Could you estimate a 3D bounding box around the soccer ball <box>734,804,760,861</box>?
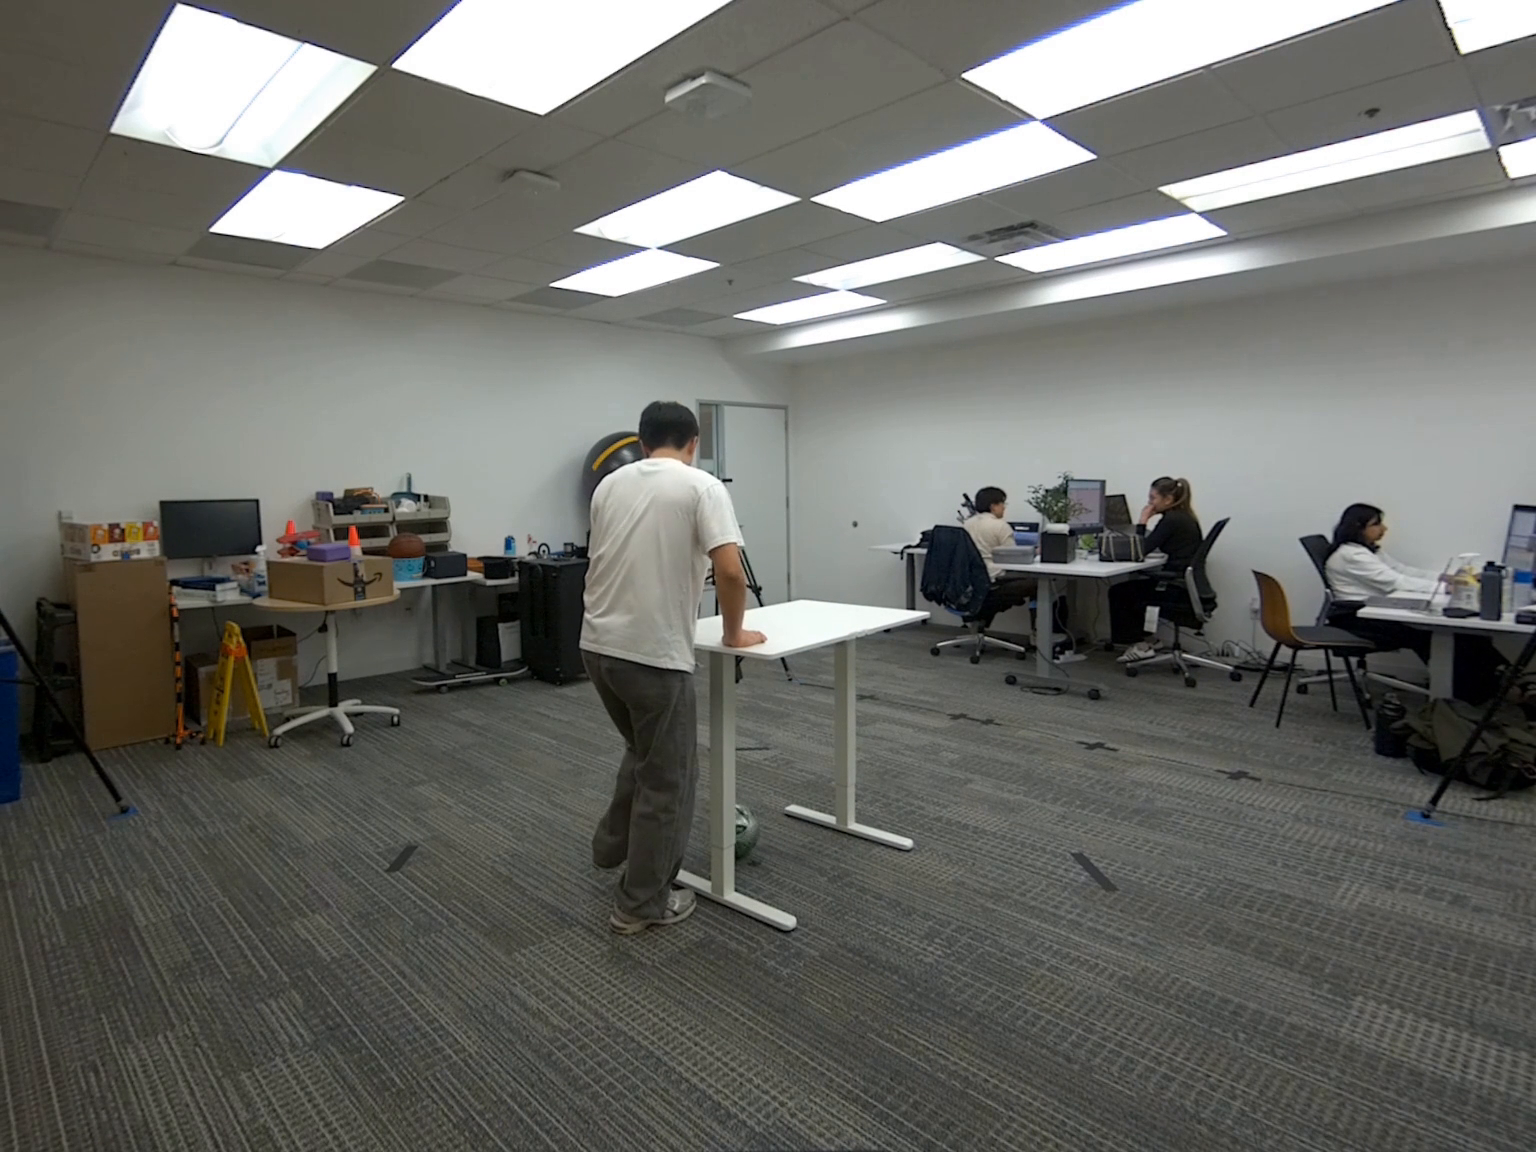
[{"bbox_3d":[-0.120,0.948,3.179,0.187,0.187,0.188,-1,5,-2],"label":"soccer ball"}]
